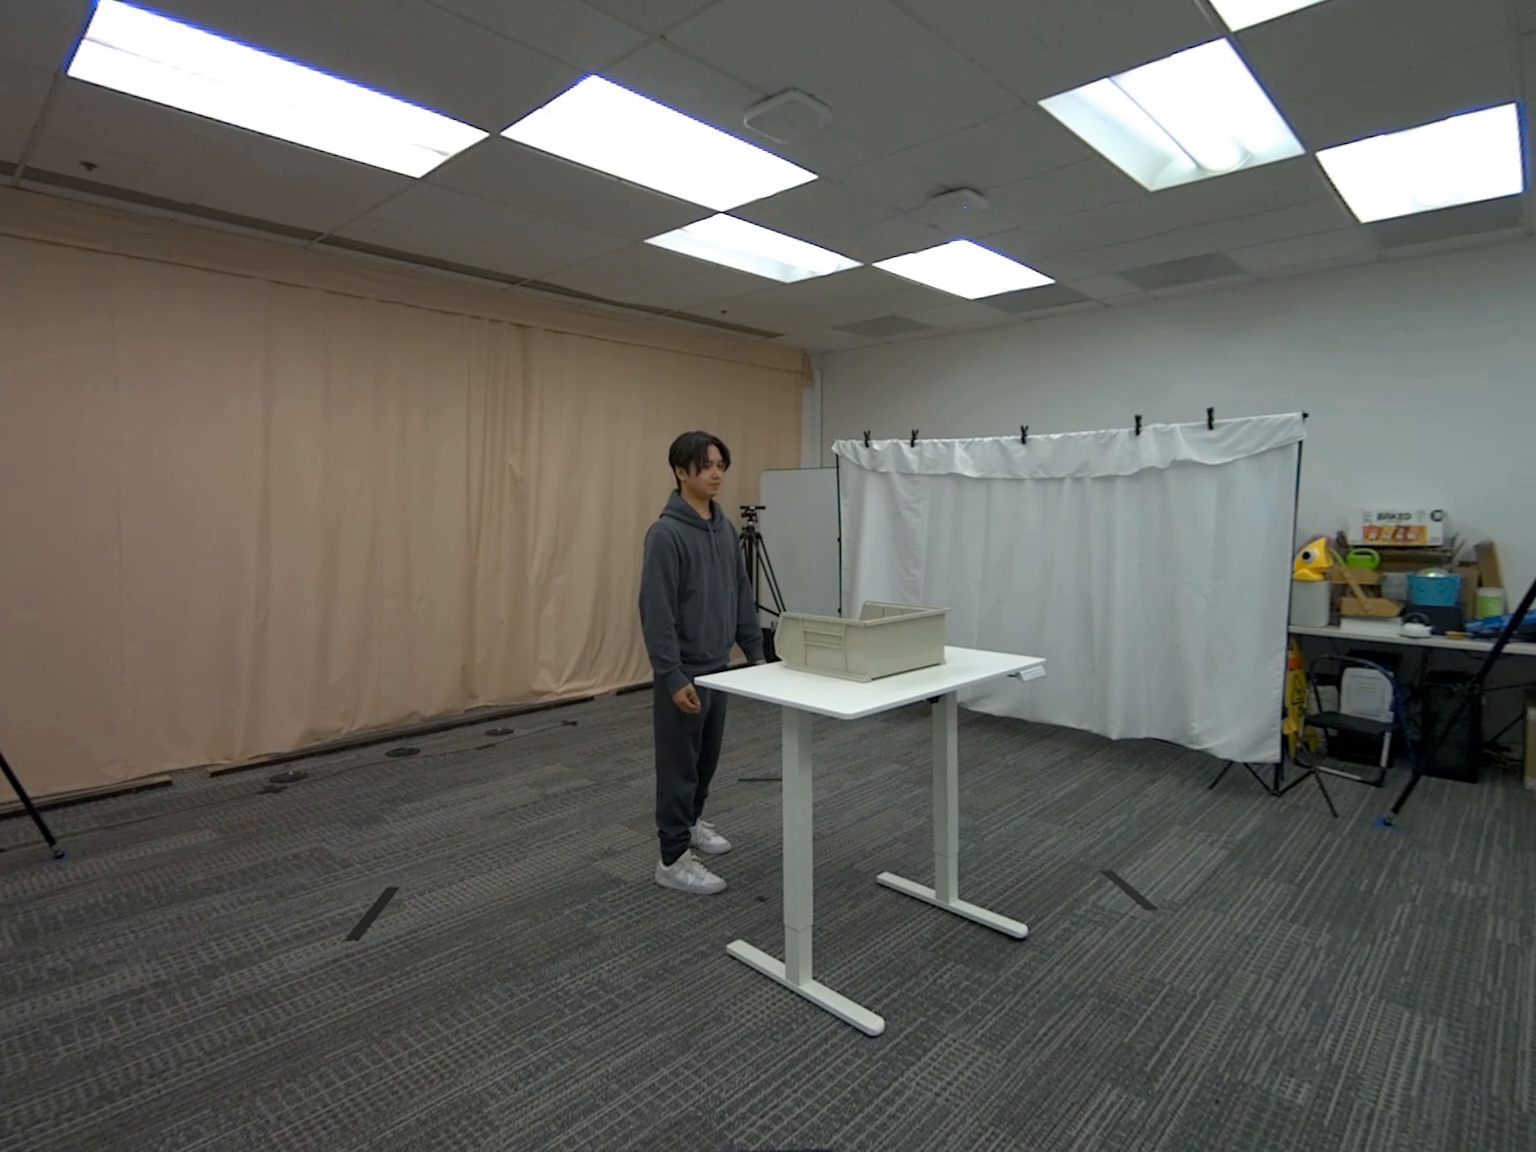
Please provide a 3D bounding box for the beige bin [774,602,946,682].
[{"bbox_3d":[0.304,0.199,2.674,0.409,0.188,0.390,-5,6,-43],"label":"beige bin"}]
